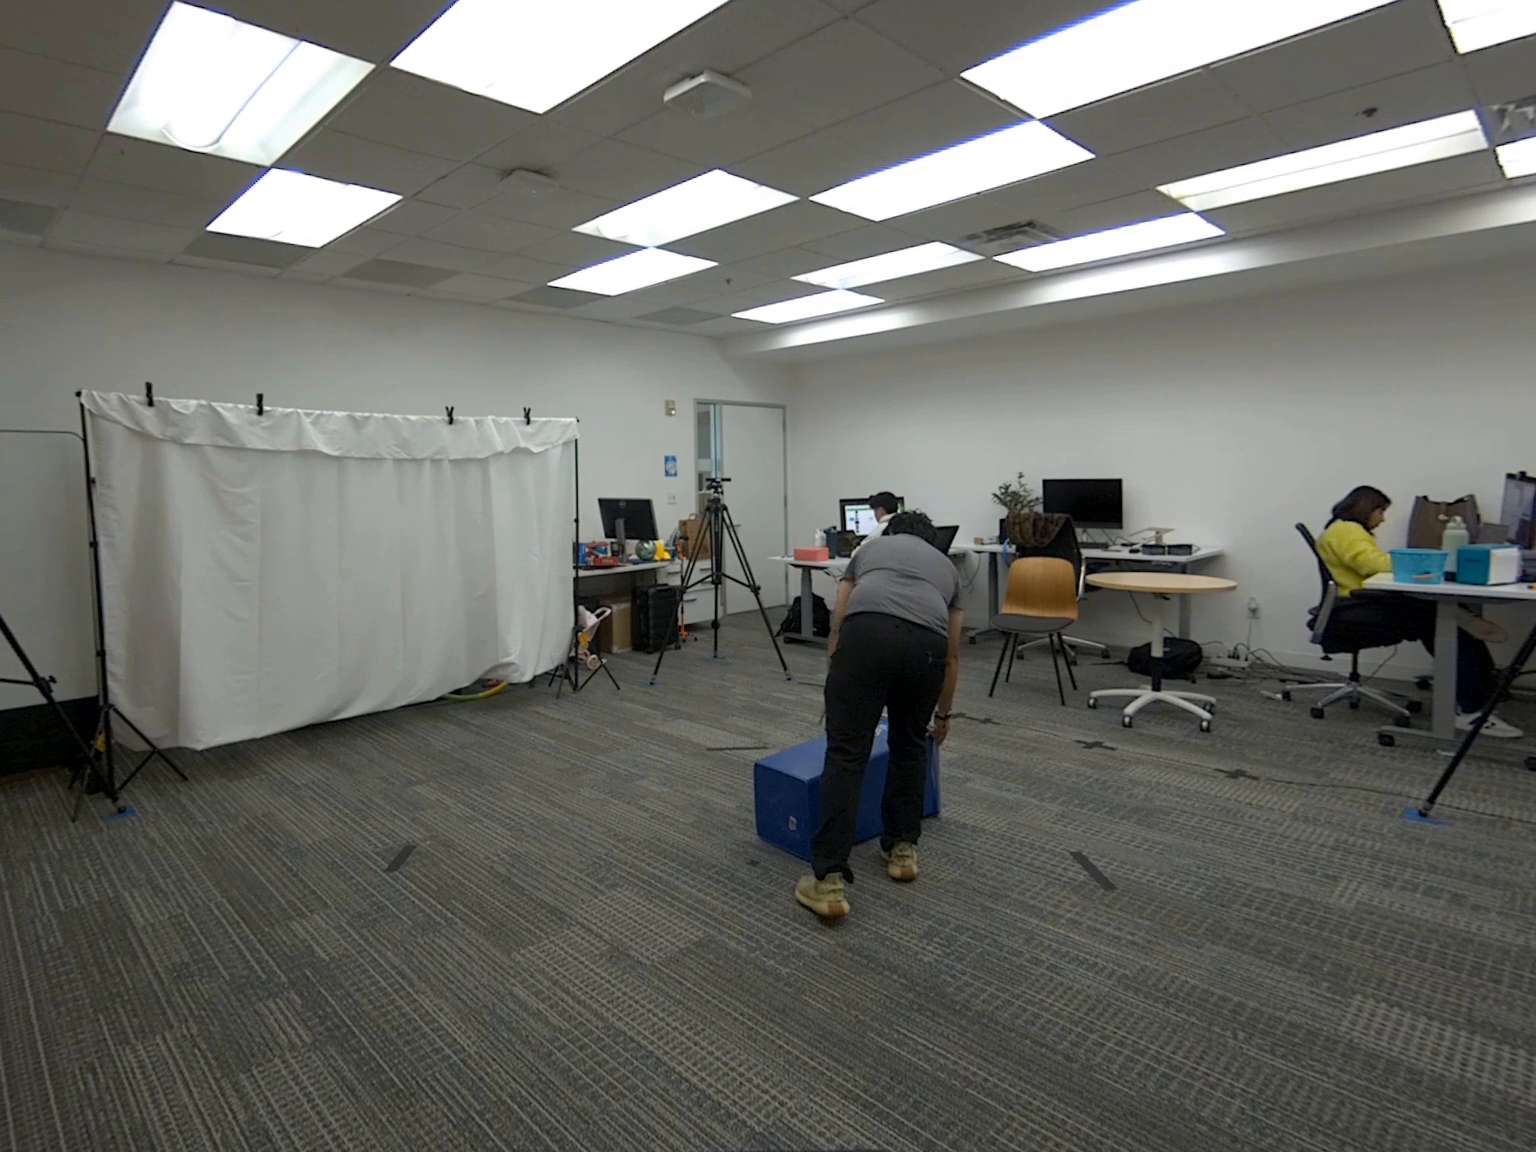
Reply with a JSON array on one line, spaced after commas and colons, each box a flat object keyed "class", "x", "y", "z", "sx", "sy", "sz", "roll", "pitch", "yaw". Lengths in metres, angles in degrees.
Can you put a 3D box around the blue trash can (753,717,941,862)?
[{"class": "blue trash can", "x": 0.318, "y": 0.826, "z": 3.408, "sx": 0.696, "sy": 0.372, "sz": 0.390, "roll": -8, "pitch": 9, "yaw": -39}]
